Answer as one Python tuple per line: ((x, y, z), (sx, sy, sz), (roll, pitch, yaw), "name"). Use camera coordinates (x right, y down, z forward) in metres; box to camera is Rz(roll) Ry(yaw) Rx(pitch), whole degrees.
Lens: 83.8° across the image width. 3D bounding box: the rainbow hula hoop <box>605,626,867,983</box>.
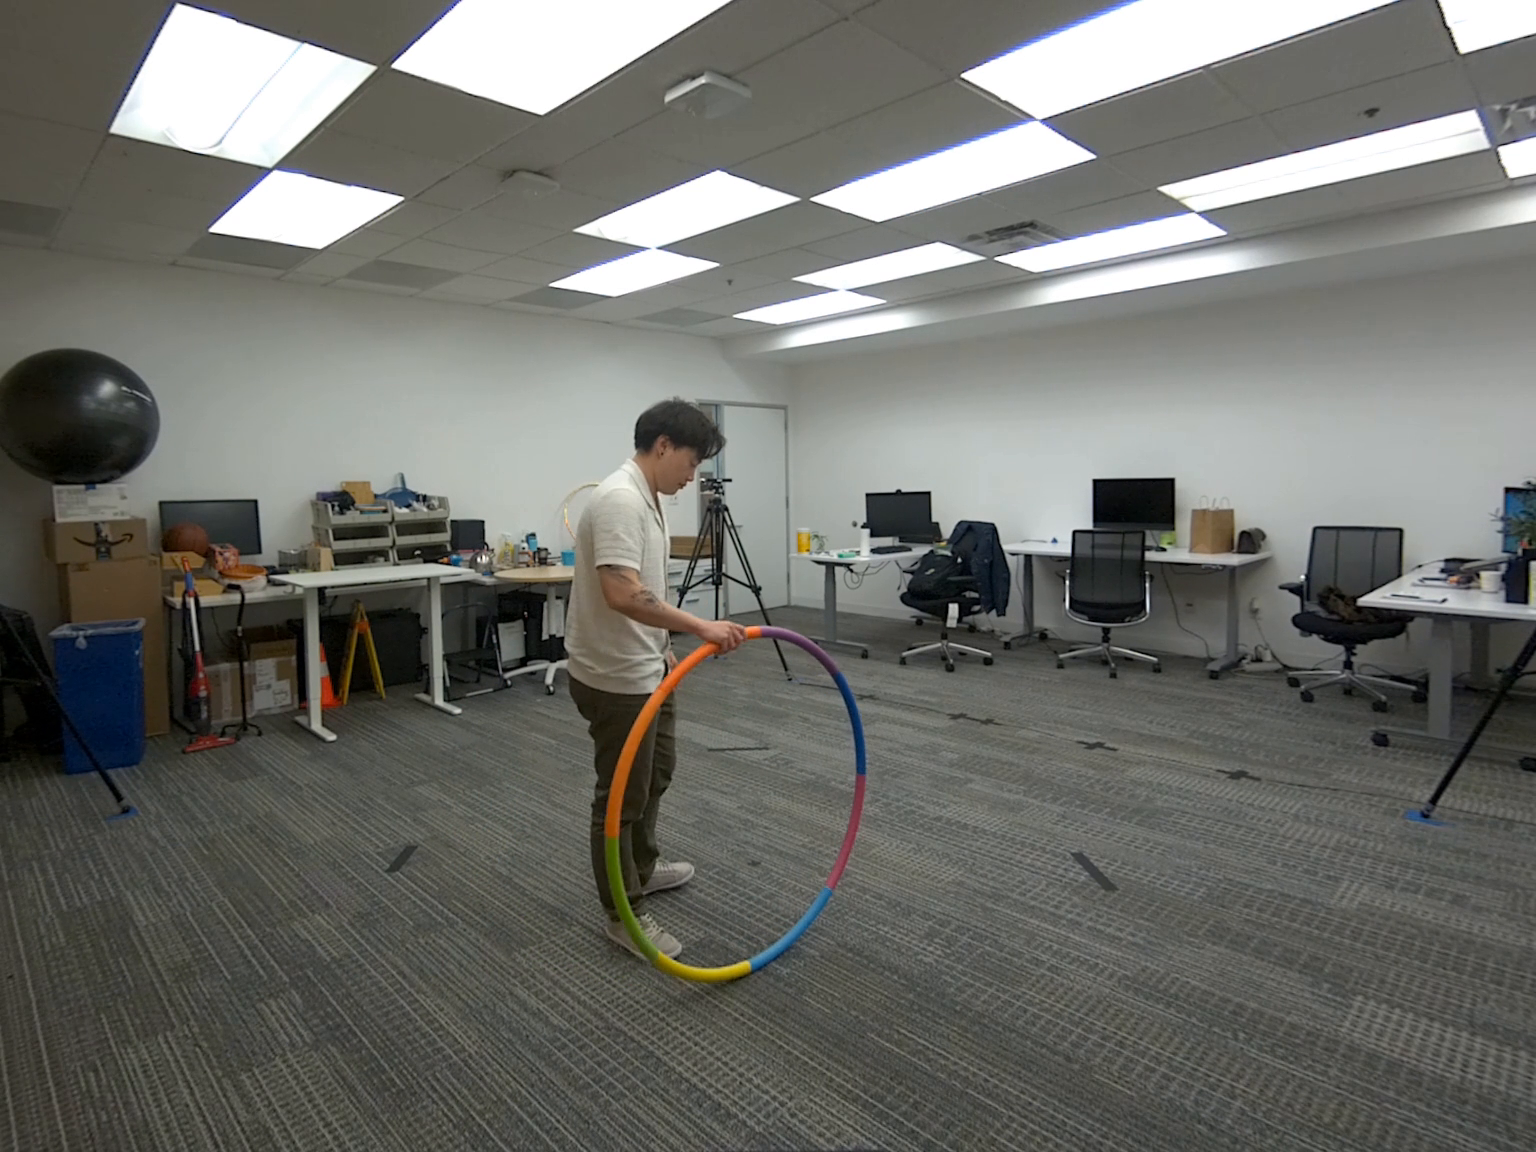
((-0.049, 0.633, 2.433), (0.953, 0.976, 0.036), (-5, 4, -43), "rainbow hula hoop")
